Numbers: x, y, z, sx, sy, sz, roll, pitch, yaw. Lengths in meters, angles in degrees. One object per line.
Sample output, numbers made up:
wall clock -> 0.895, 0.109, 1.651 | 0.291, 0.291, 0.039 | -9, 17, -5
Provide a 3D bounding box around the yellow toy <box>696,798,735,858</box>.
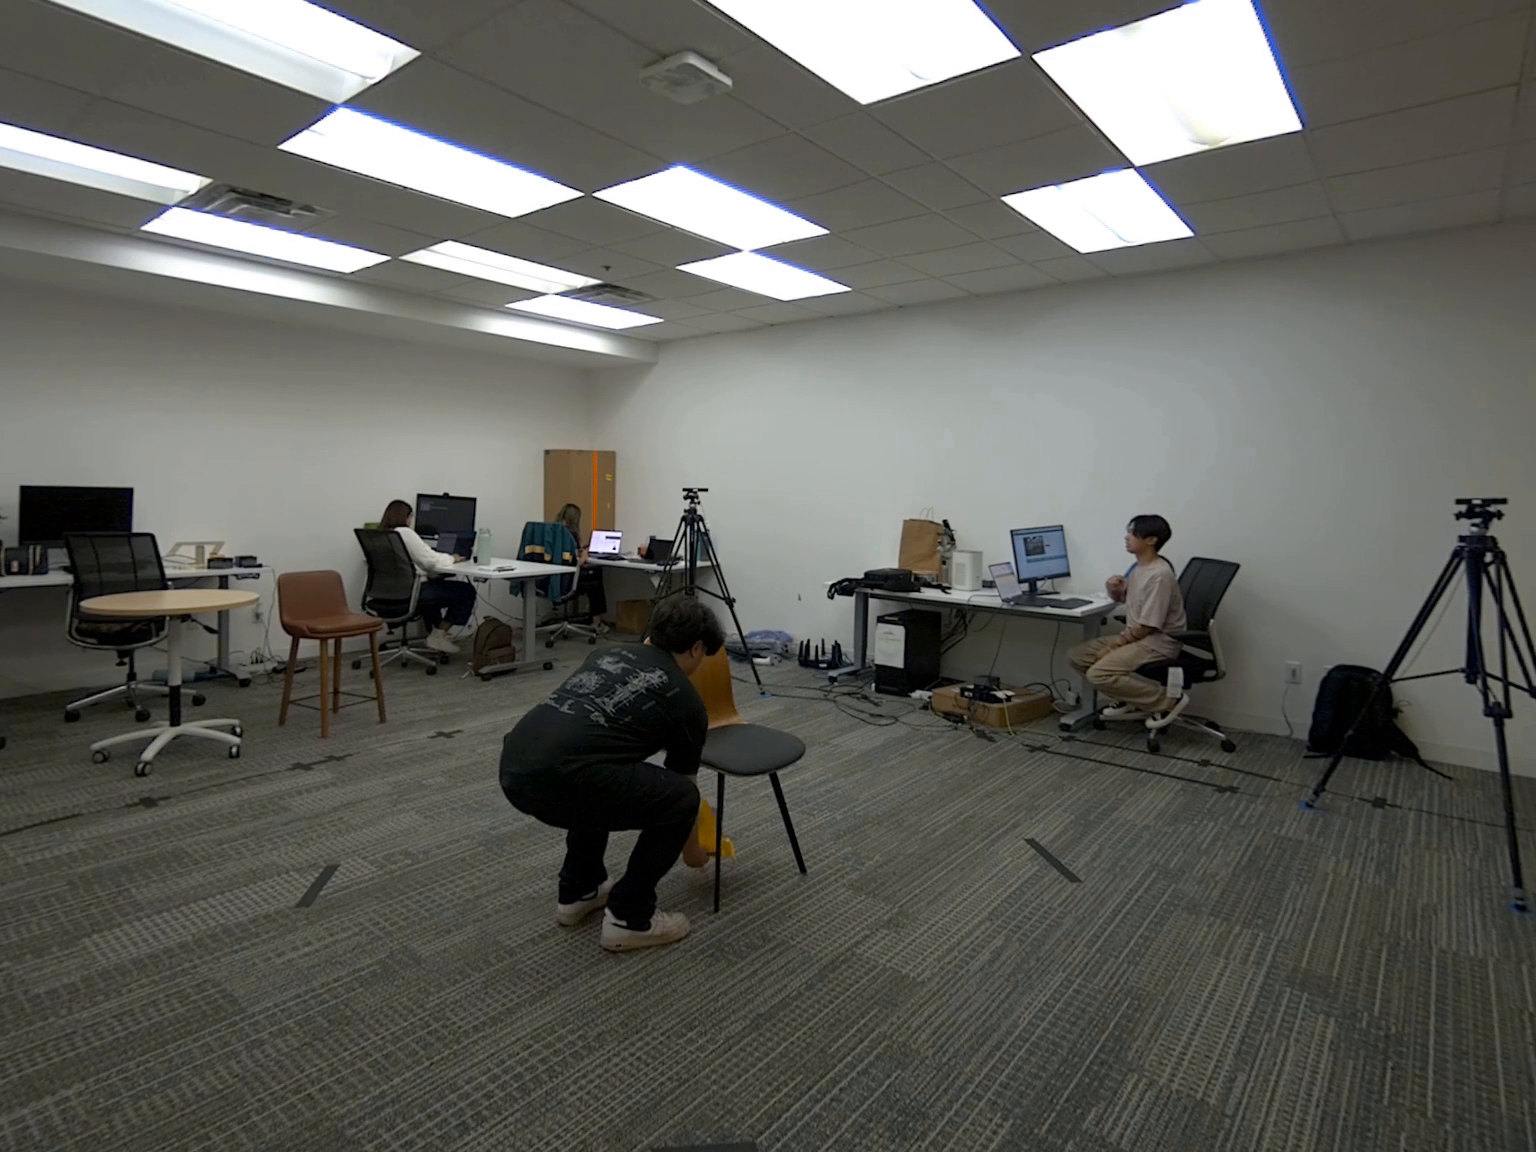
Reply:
yellow toy -> -0.241, 0.881, 3.036 | 0.199, 0.235, 0.195 | 7, -19, -27
